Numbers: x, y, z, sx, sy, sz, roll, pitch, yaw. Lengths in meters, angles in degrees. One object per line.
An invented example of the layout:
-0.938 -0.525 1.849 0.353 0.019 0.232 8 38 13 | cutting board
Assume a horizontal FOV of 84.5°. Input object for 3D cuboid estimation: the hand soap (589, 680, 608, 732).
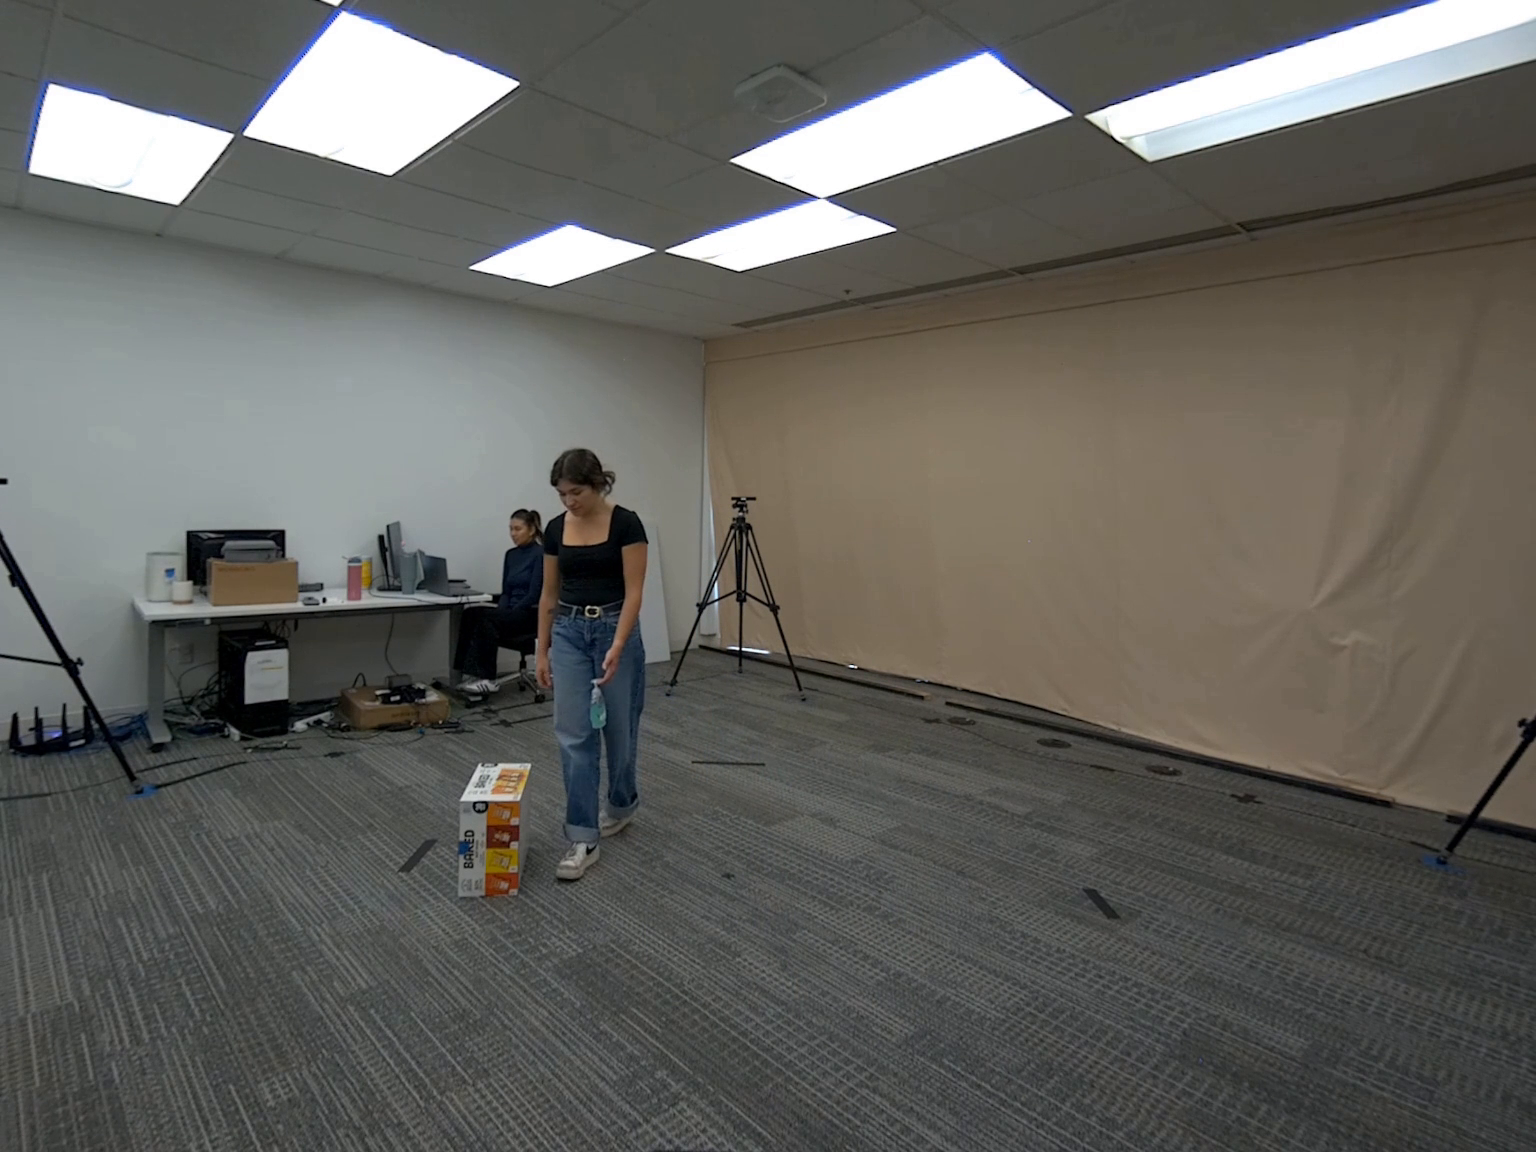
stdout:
-0.618 0.453 2.999 0.044 0.167 0.084 -1 5 13 | hand soap
